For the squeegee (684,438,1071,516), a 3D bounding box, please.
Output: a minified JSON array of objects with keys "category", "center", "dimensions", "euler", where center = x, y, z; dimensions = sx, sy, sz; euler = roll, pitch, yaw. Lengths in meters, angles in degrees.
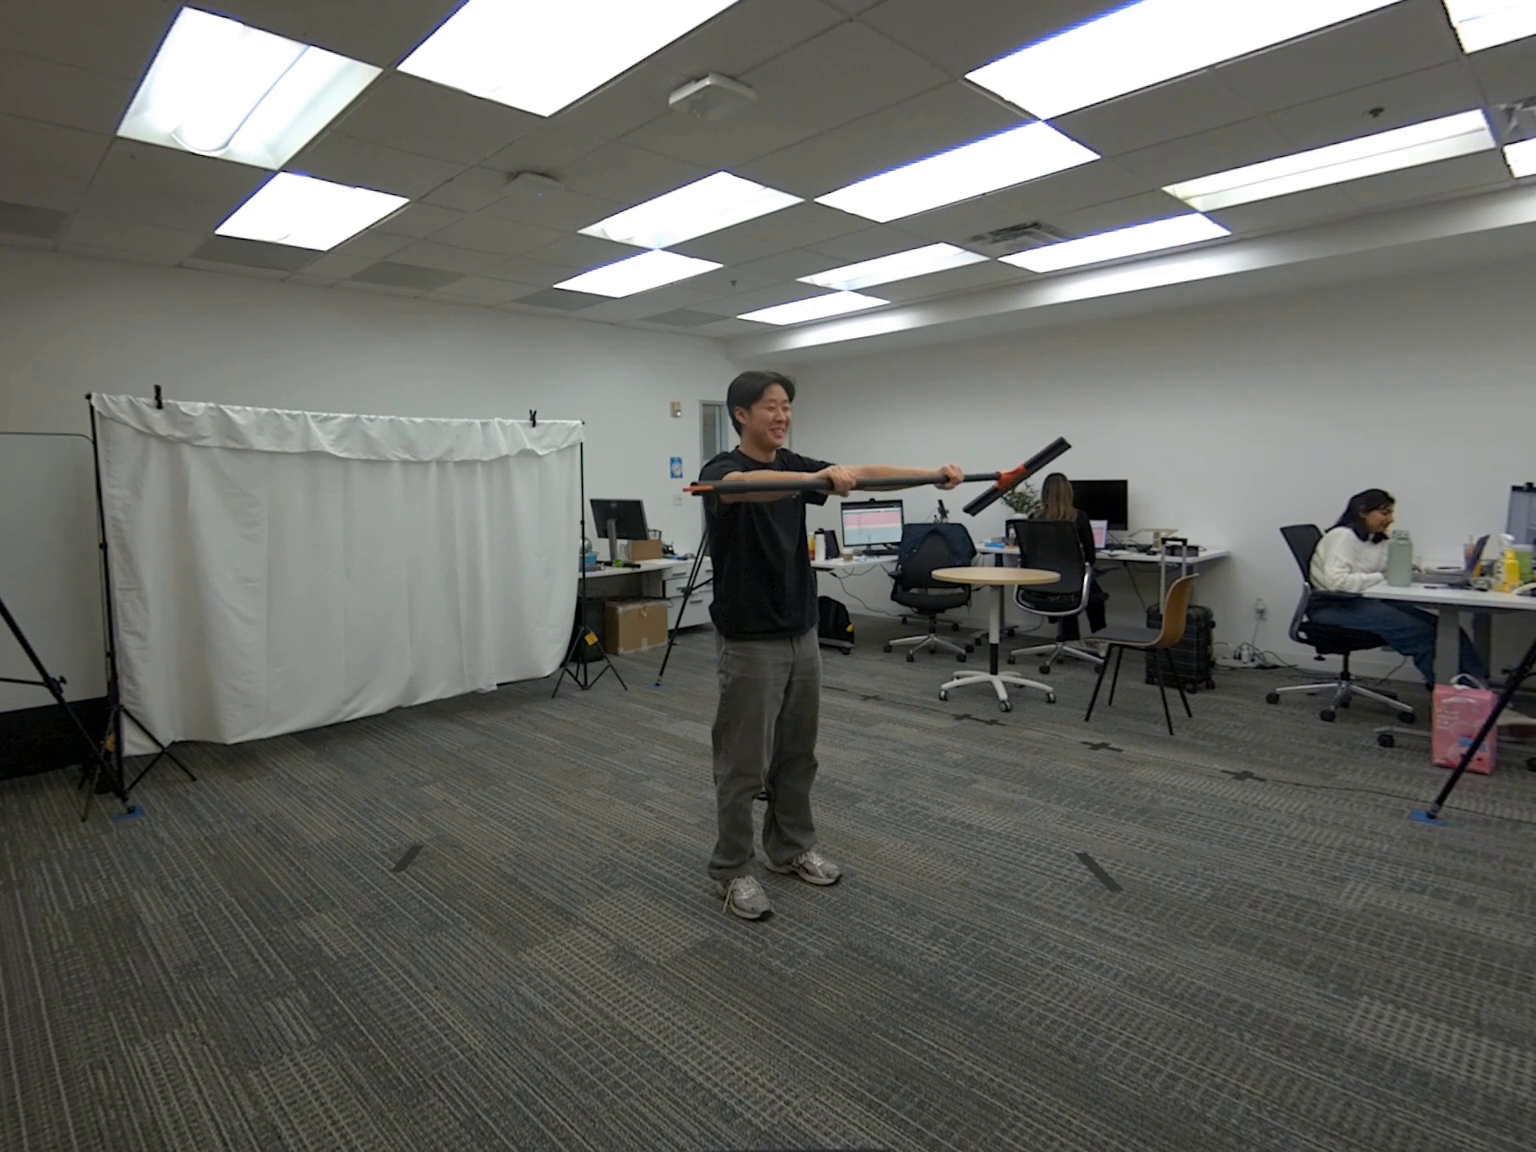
[{"category":"squeegee","center":[0.333,-0.260,2.412],"dimensions":[1.499,0.054,0.439],"euler":[-9,-22,-45]}]
